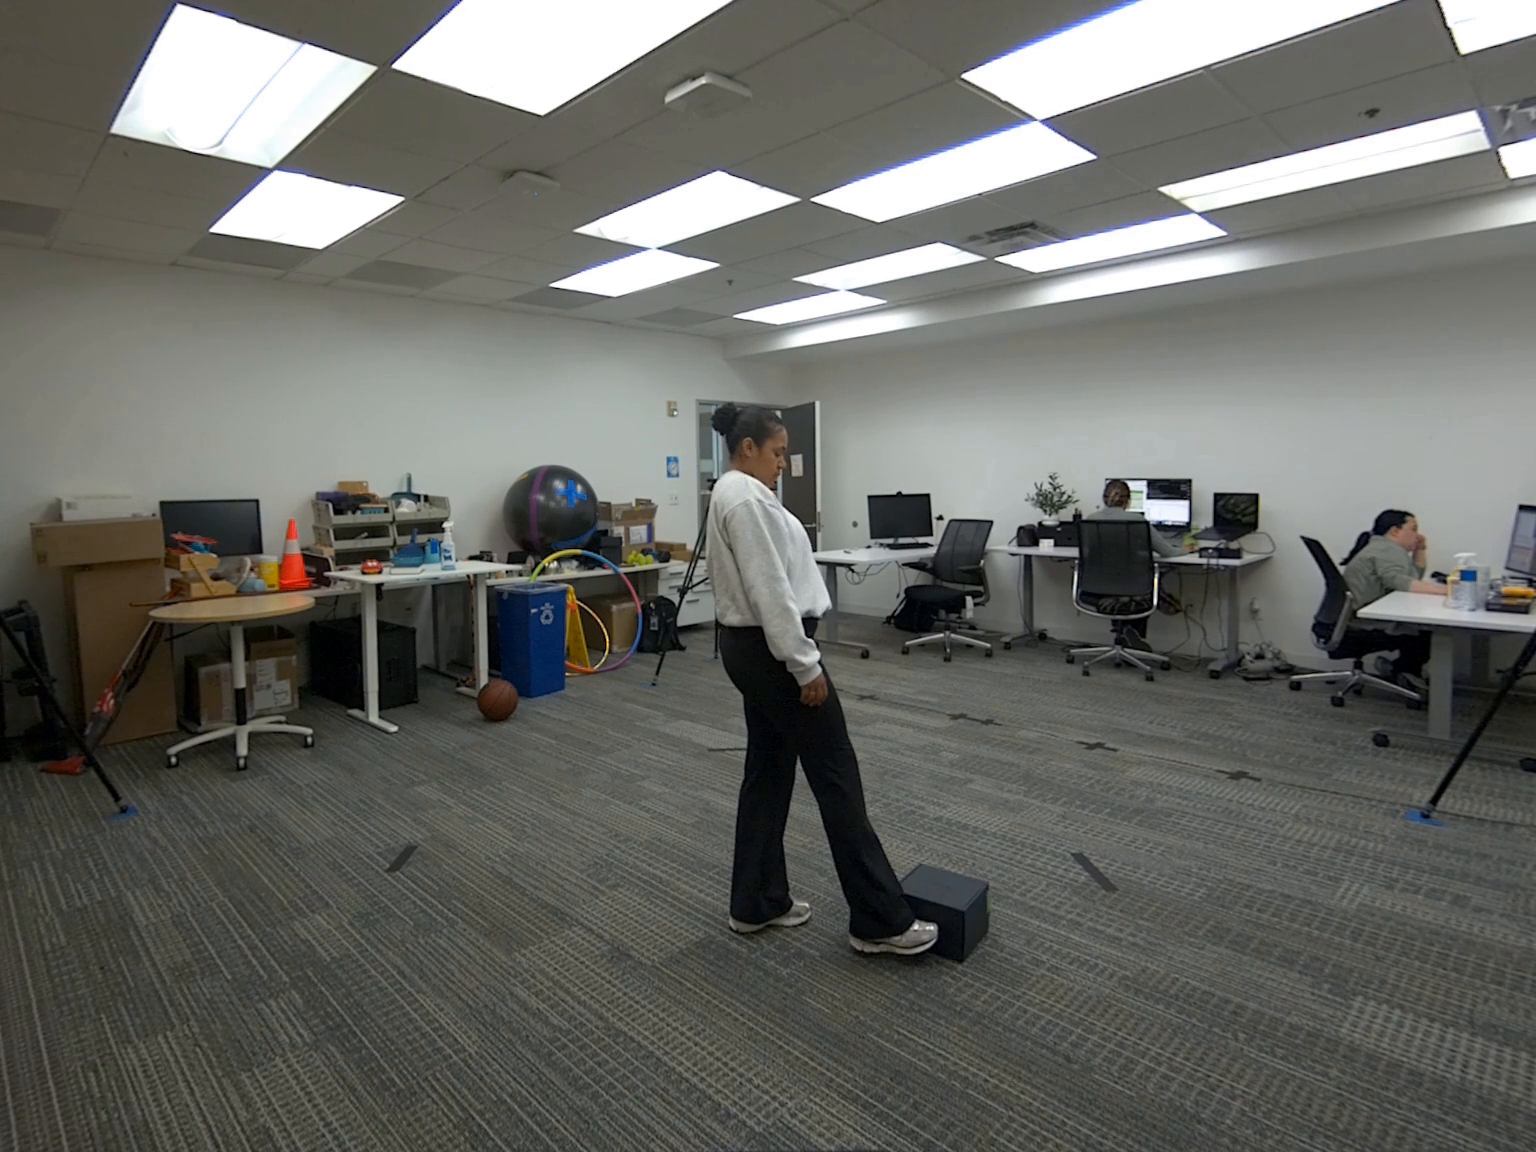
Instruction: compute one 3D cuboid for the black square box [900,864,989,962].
[{"bbox_3d":[0.520,1.006,2.593,0.234,0.155,0.212,4,7,36],"label":"black square box"}]
